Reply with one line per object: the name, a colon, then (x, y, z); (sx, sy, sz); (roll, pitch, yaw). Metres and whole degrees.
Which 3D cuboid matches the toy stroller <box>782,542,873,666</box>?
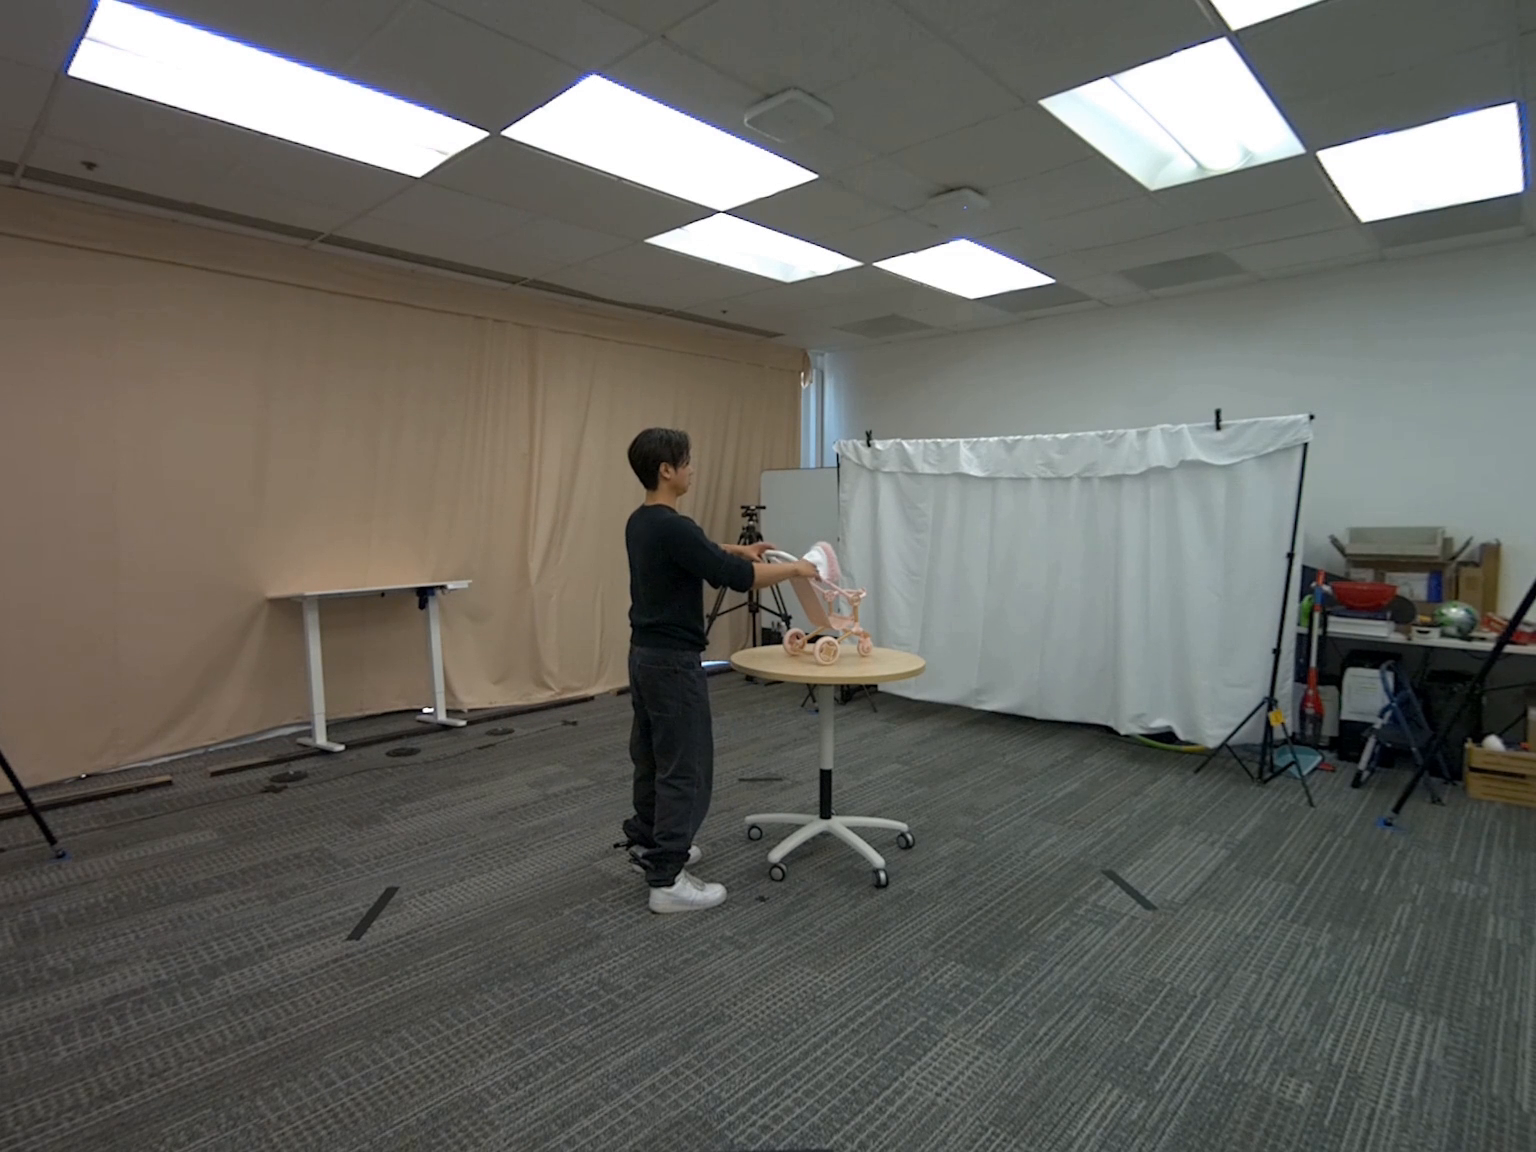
toy stroller: (0.231, 0.108, 3.322); (0.336, 0.531, 0.287); (-17, 8, -19)
